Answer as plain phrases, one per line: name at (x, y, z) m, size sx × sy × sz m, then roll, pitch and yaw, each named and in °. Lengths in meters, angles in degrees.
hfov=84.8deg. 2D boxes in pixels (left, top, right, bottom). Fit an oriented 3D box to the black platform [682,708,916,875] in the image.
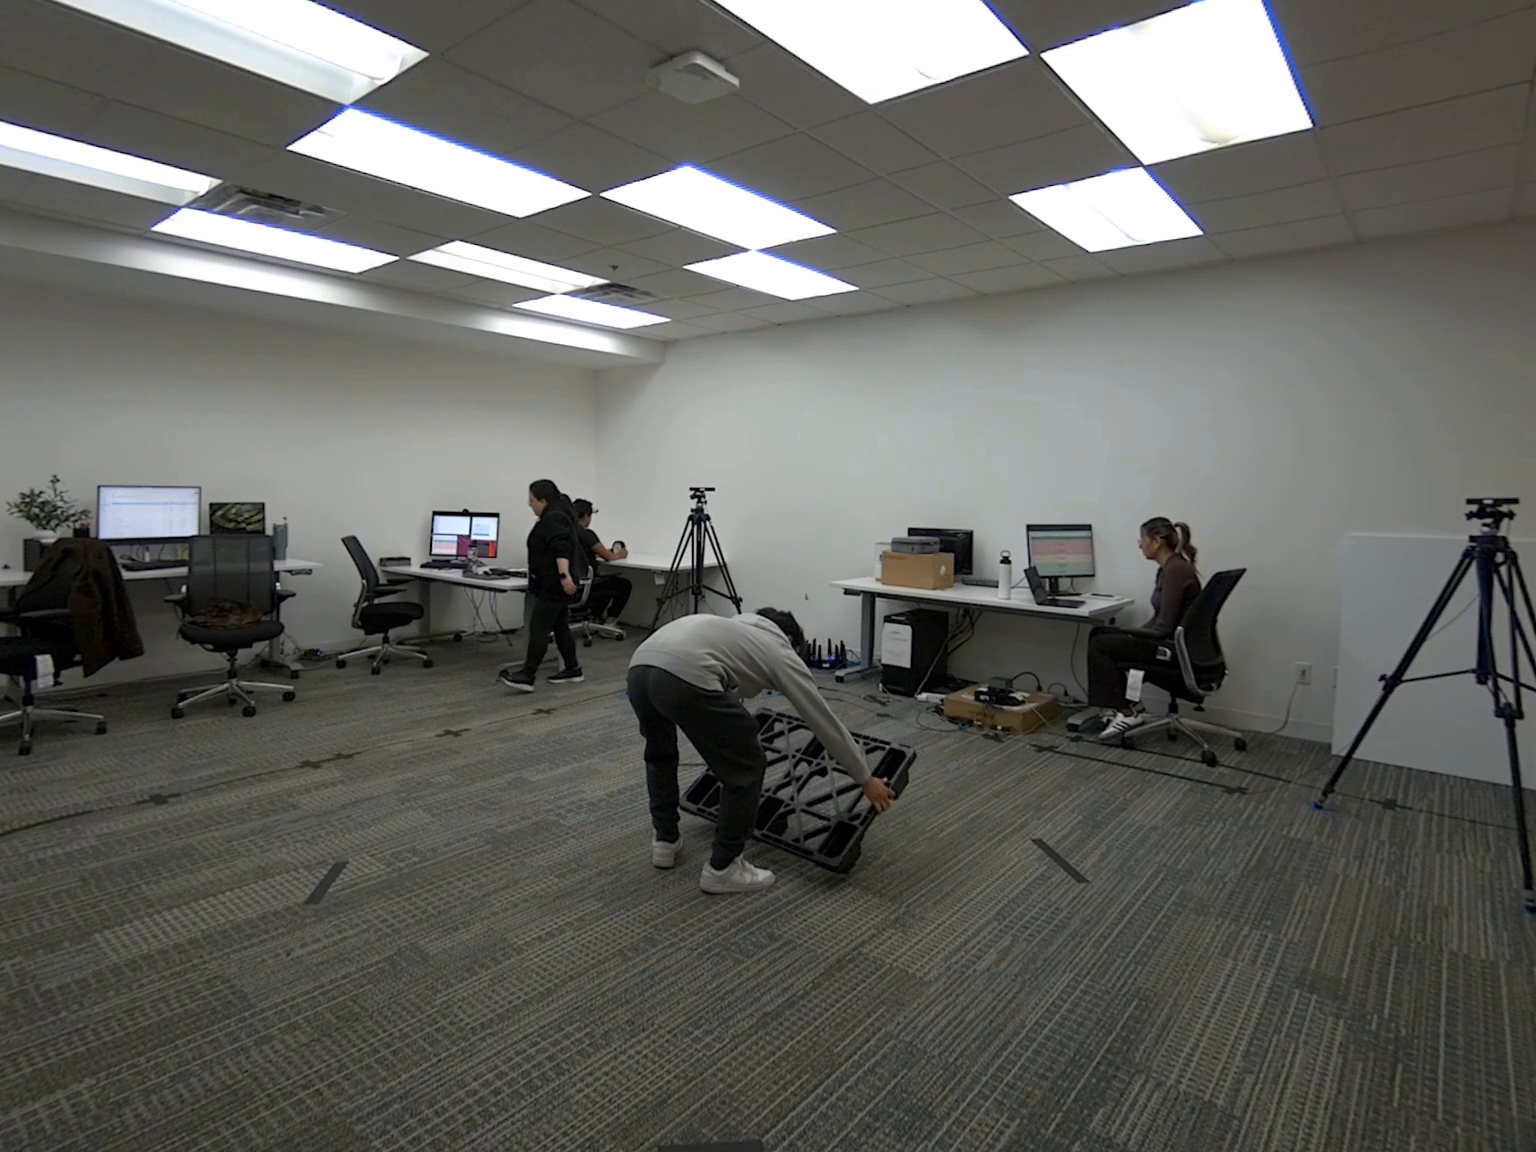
black platform at (0.110, 0.842, 3.405) m, size 0.834 × 0.139 × 0.603 m, roll 7°, pitch 39°, yaw 41°
